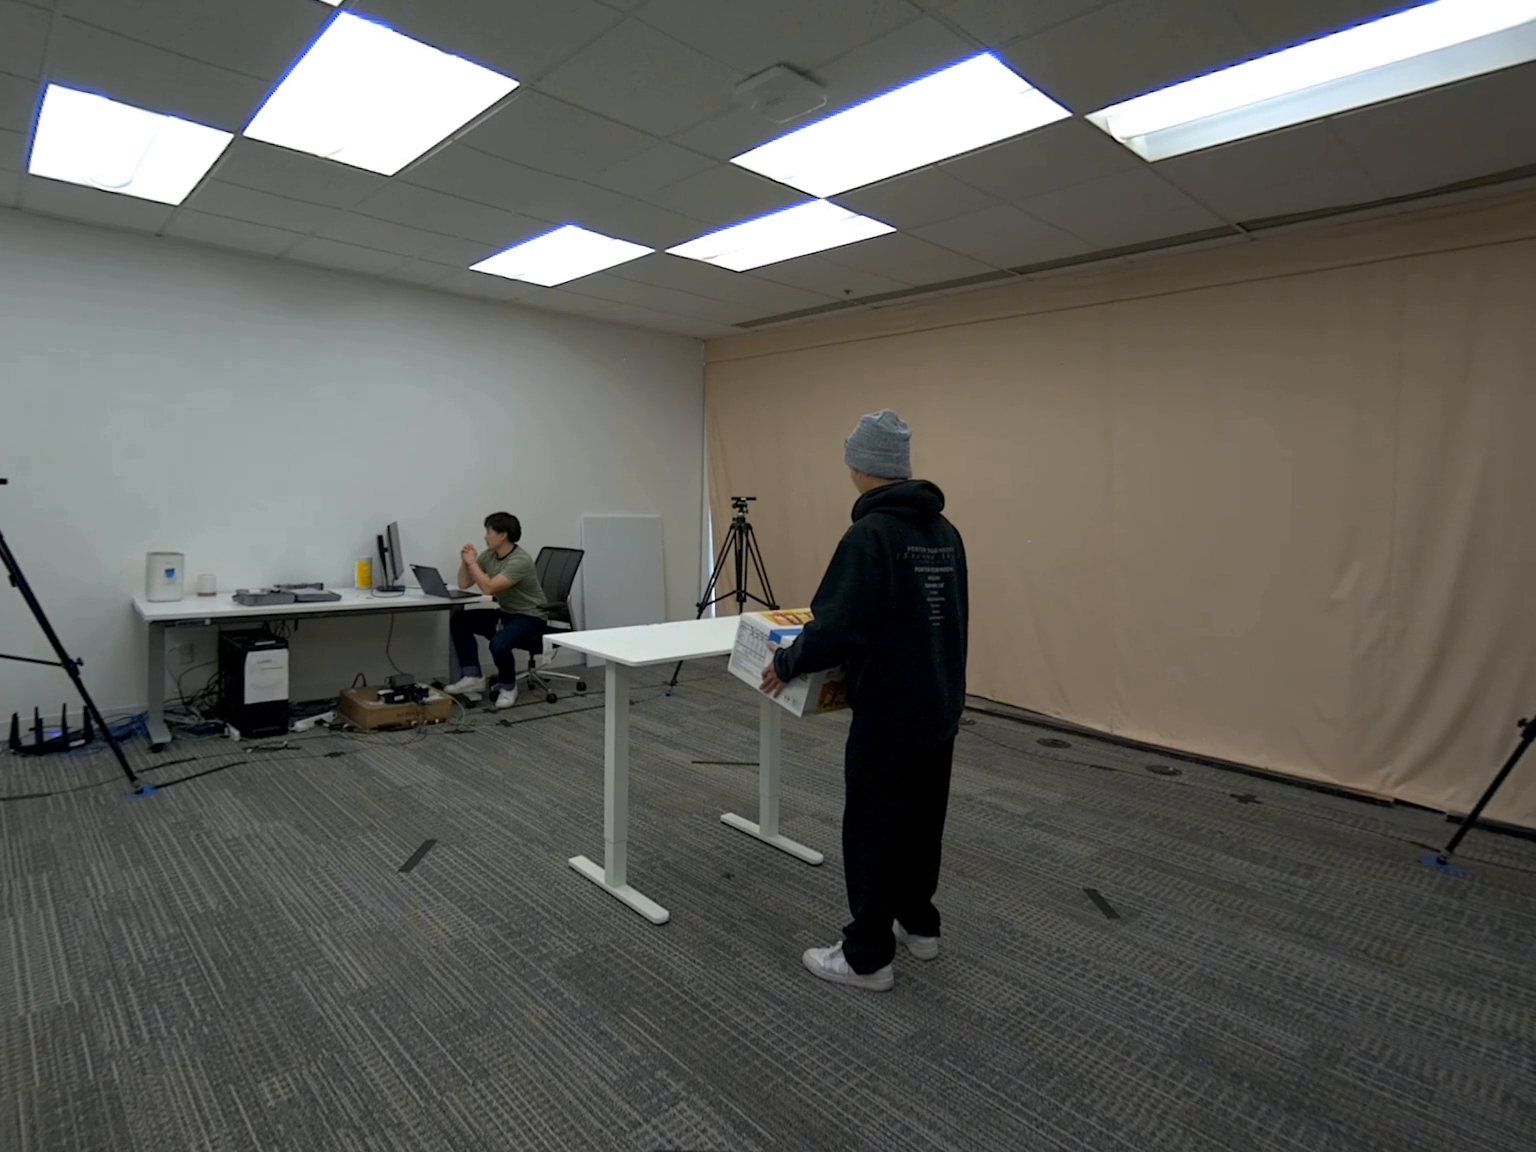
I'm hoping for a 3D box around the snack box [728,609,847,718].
[{"bbox_3d":[0.144,0.267,2.704,0.396,0.204,0.351,-2,20,-45],"label":"snack box"}]
